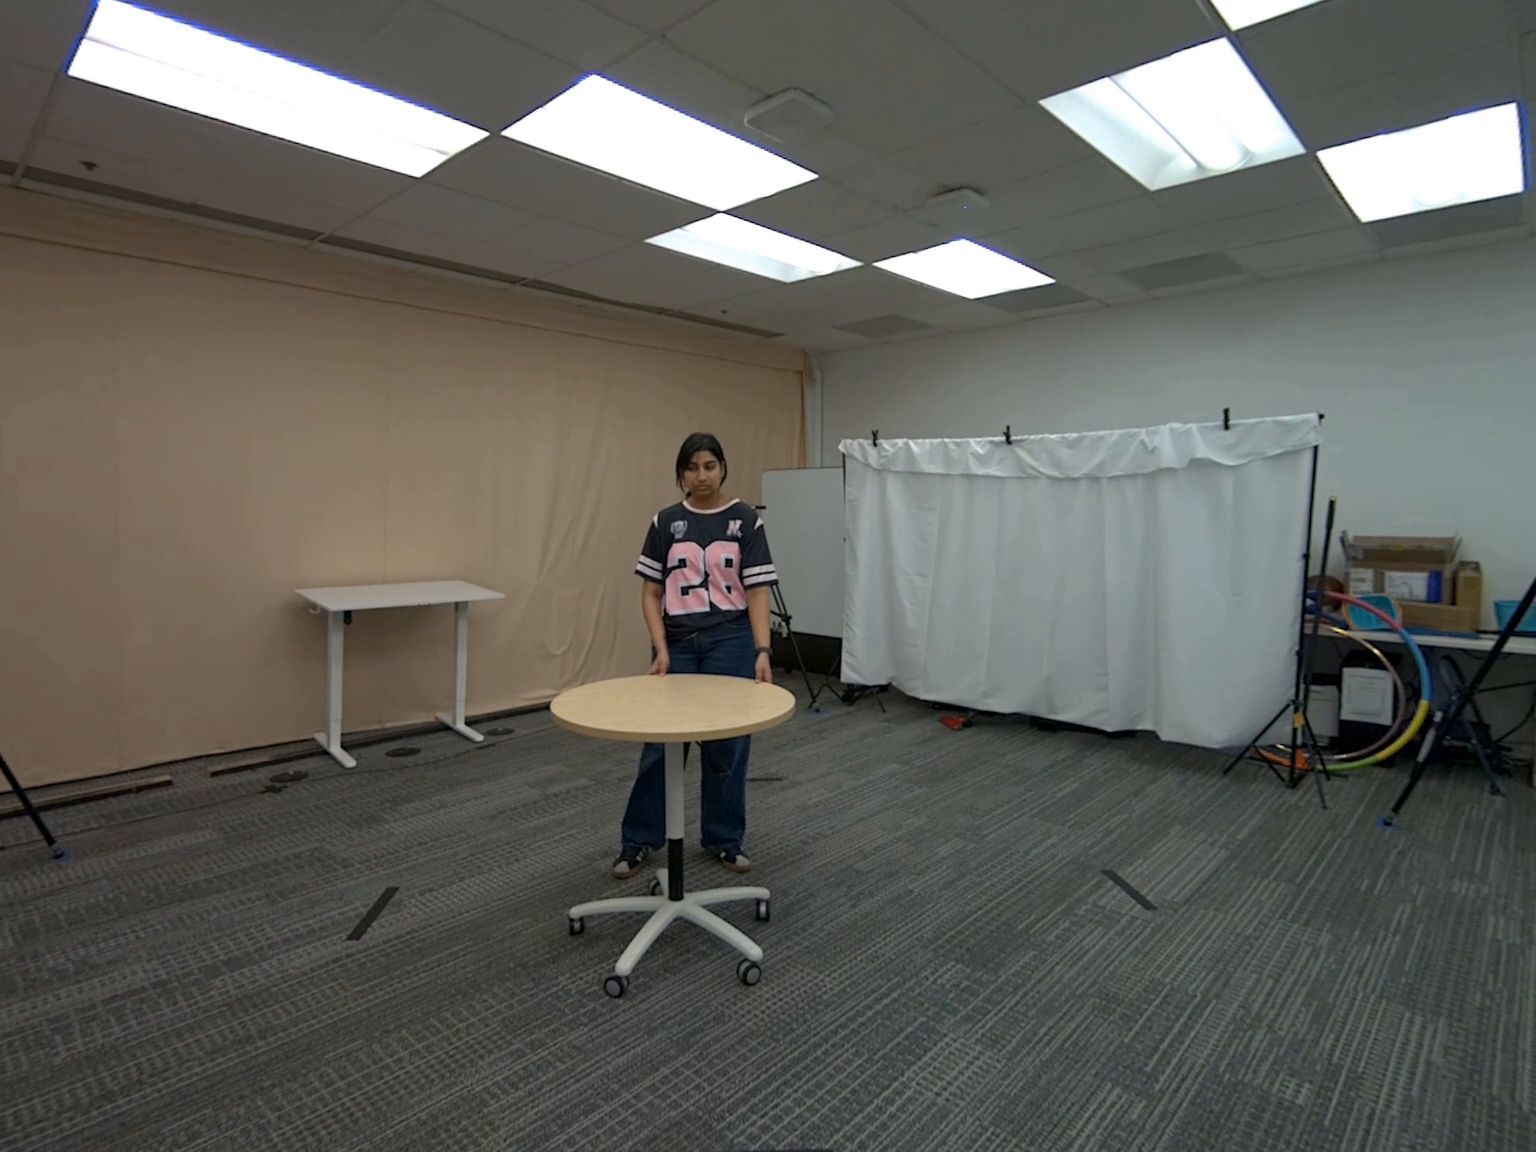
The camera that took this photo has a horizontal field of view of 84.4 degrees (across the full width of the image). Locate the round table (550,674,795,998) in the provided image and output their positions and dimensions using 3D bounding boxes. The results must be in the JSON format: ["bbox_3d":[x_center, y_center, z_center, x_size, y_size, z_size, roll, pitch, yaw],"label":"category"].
[{"bbox_3d":[-0.288,0.780,2.680,0.763,0.792,0.767,-1,4,-2],"label":"round table"}]
